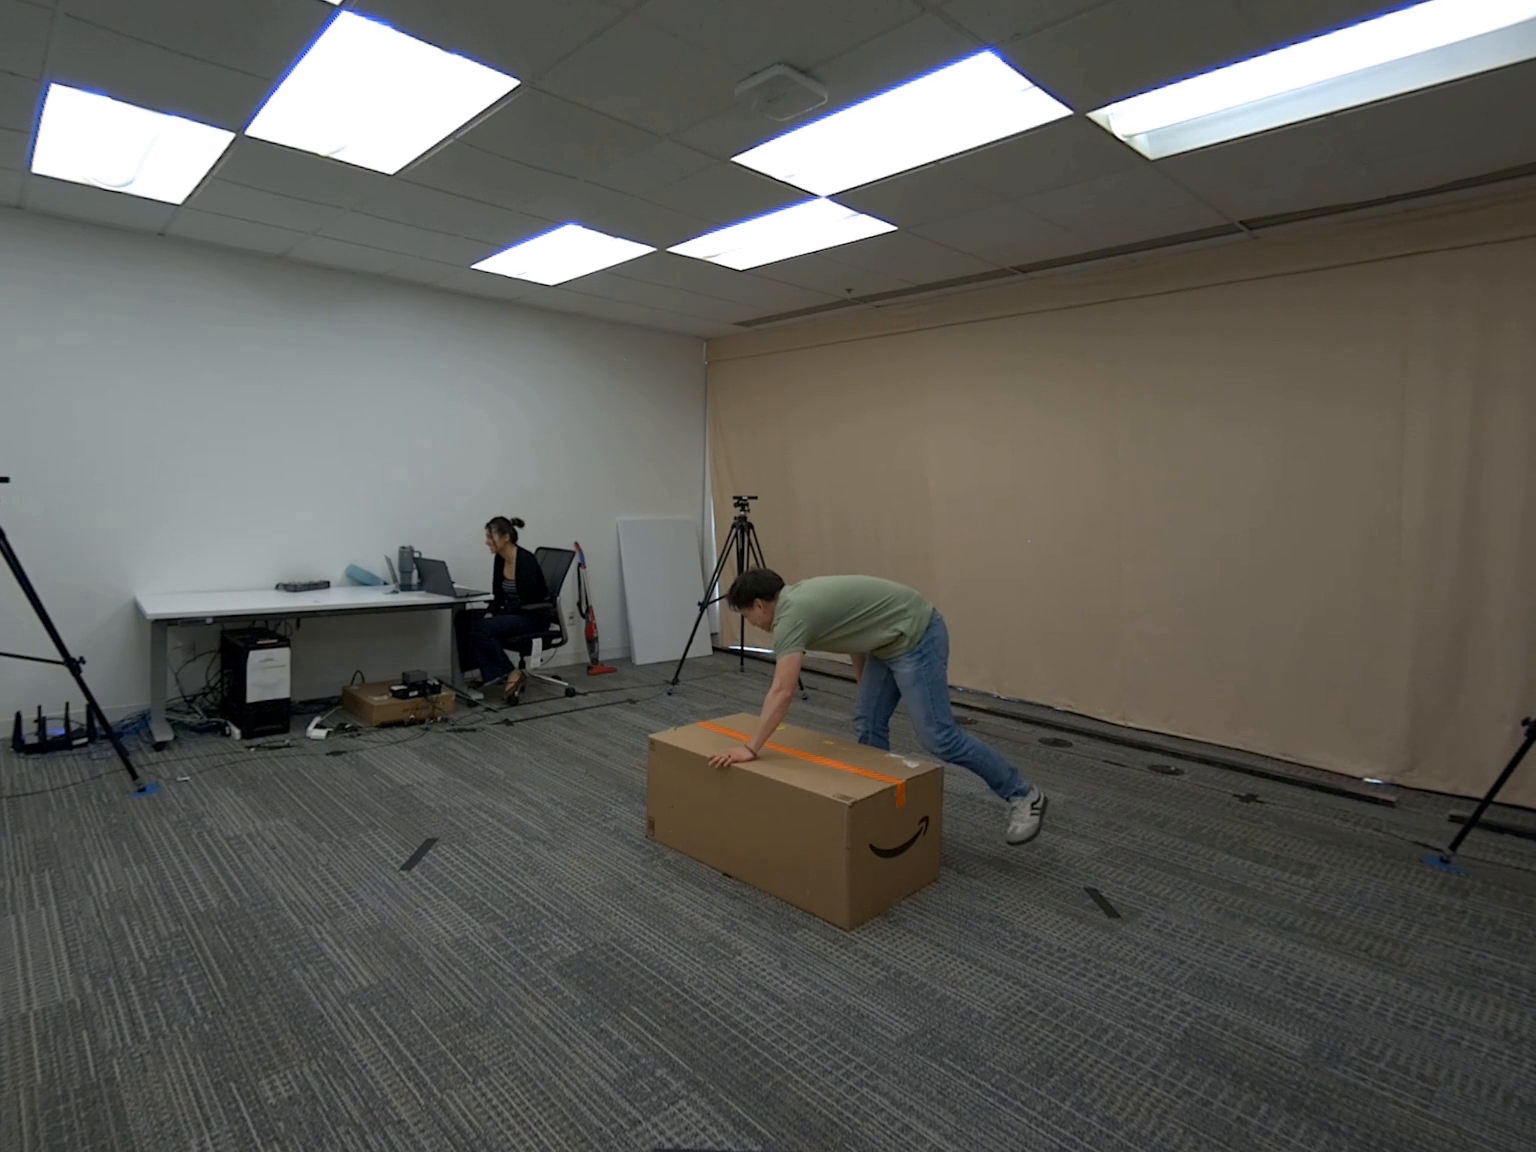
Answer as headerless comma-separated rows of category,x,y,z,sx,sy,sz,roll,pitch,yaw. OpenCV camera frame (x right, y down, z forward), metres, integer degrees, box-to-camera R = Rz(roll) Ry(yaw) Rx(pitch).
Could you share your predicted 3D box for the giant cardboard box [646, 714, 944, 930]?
giant cardboard box,0.068,0.882,3.256,1.052,0.425,0.564,6,6,44
